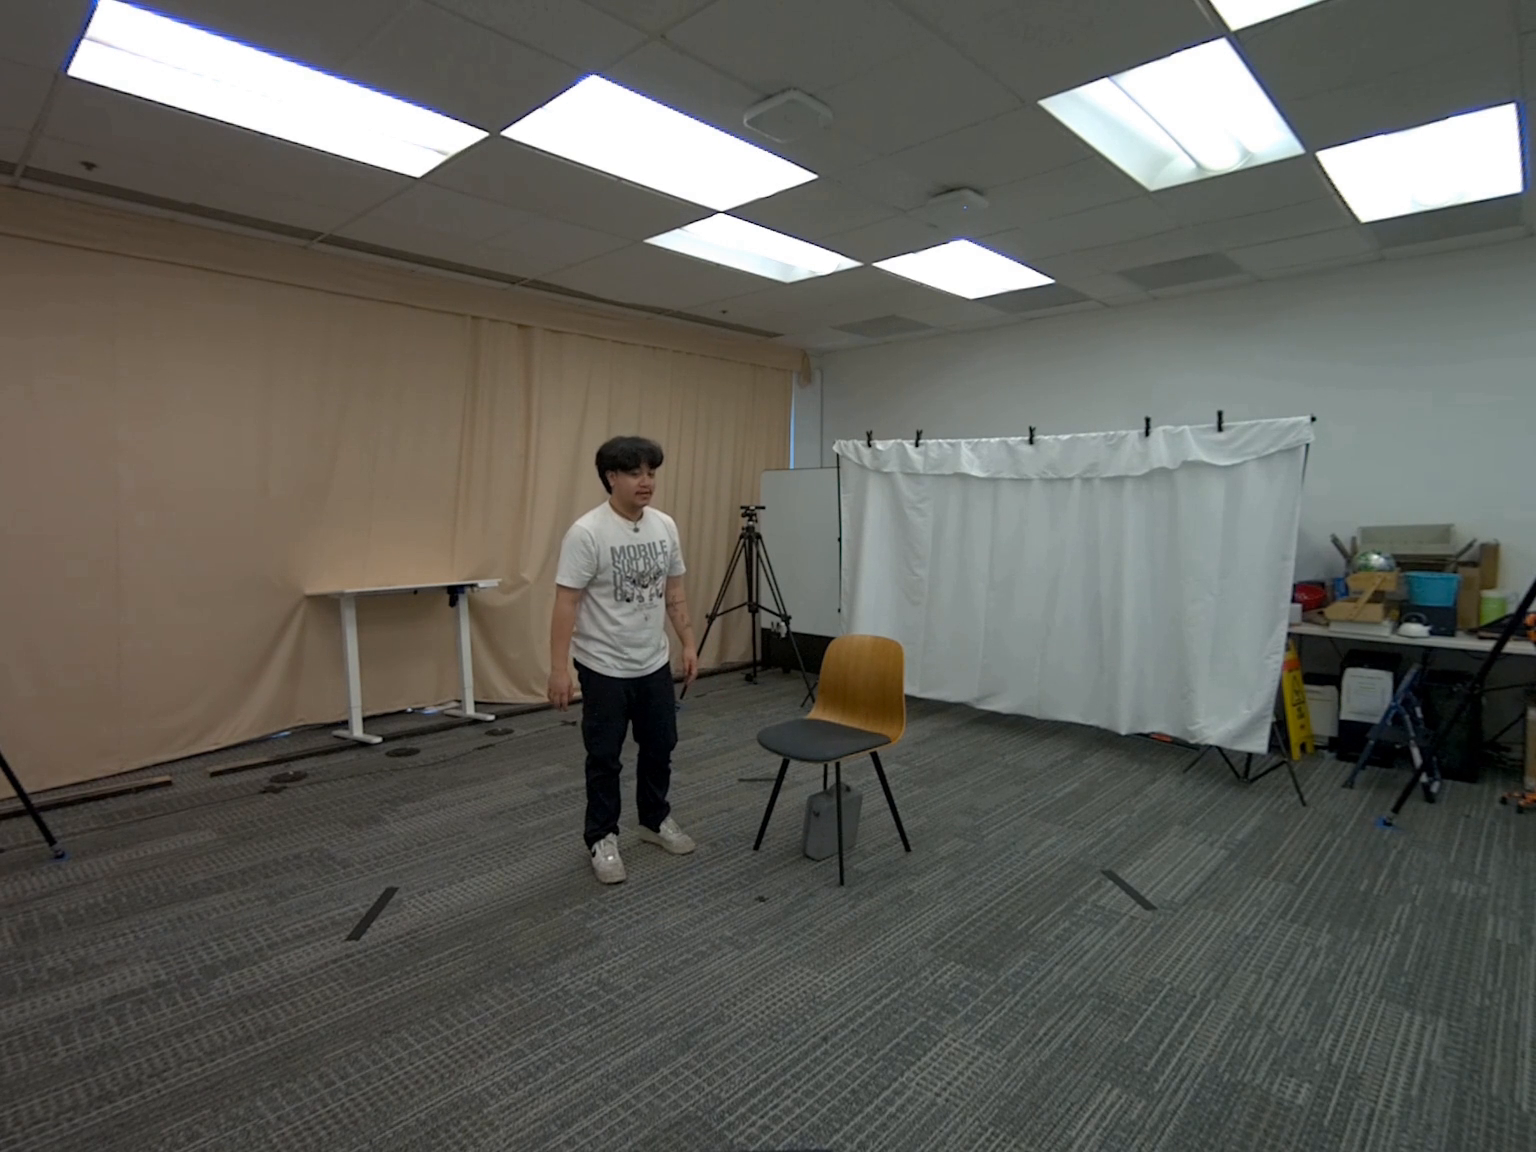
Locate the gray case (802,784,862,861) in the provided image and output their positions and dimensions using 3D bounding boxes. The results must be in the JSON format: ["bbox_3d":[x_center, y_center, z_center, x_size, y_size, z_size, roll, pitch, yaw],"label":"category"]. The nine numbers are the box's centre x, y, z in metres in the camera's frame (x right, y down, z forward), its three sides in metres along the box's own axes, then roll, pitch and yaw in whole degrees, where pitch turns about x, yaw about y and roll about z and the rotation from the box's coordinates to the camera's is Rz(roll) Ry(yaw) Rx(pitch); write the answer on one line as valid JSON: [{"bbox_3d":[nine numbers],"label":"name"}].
[{"bbox_3d":[0.260,0.983,3.371,0.249,0.259,0.108,-4,14,-42],"label":"gray case"}]
